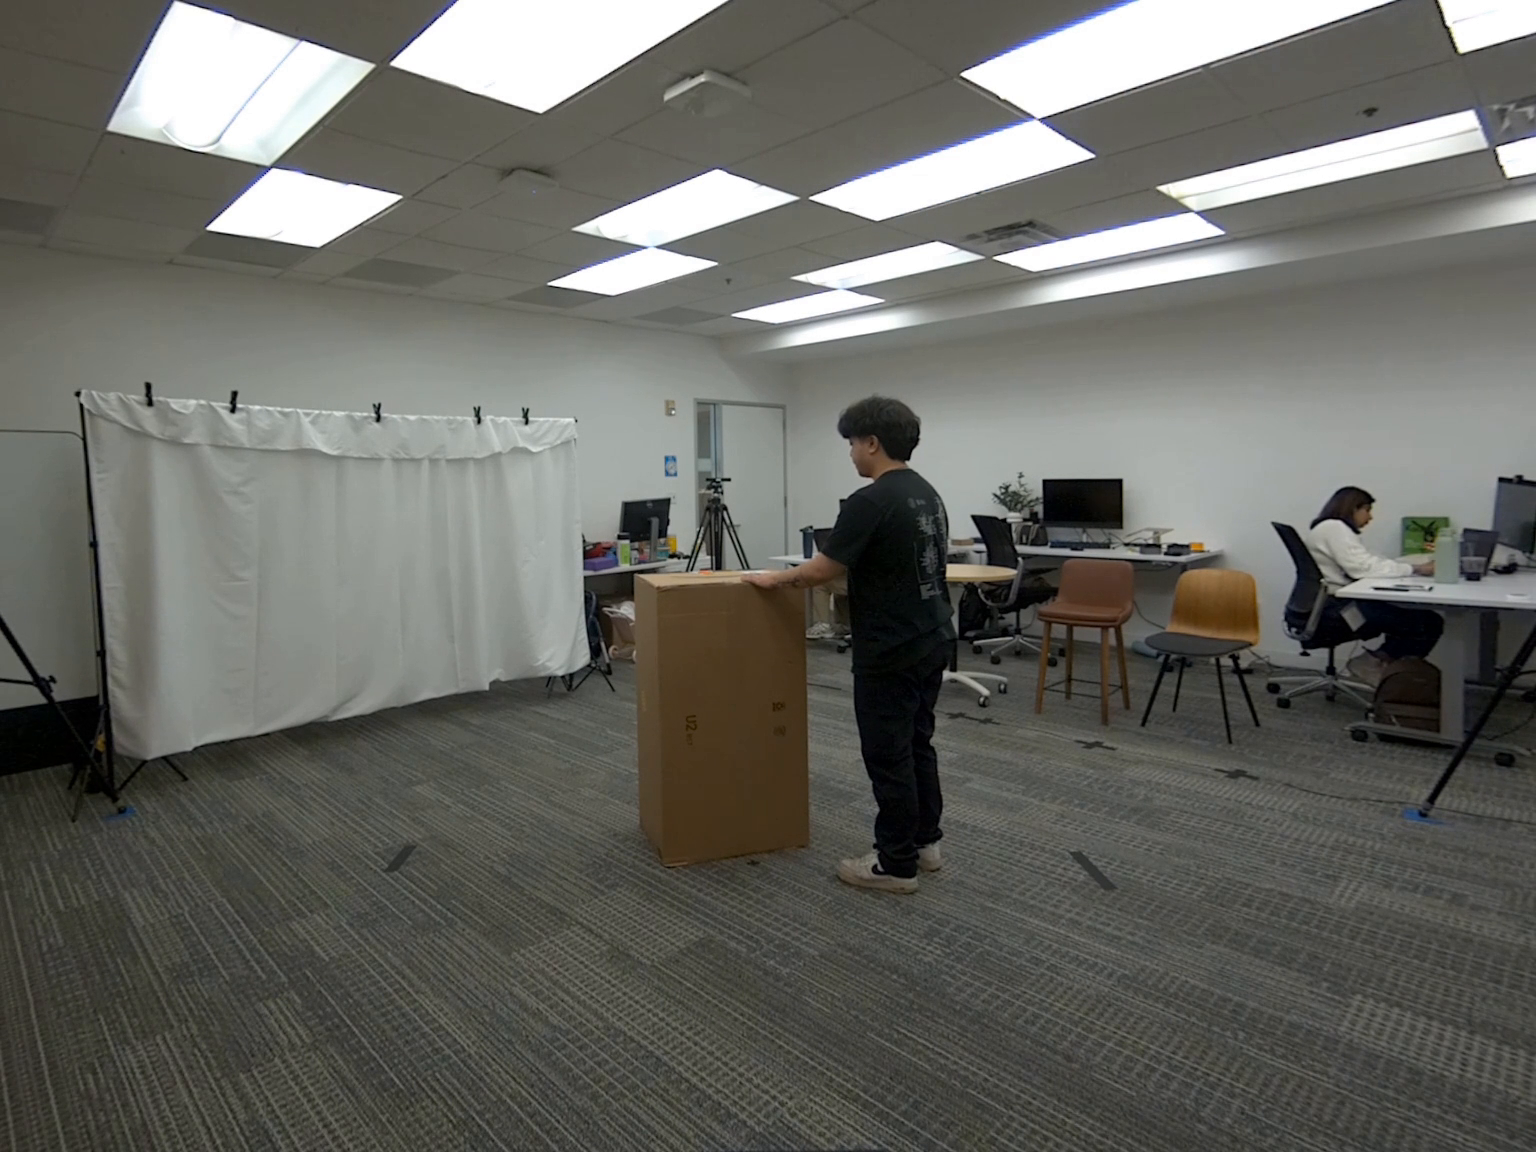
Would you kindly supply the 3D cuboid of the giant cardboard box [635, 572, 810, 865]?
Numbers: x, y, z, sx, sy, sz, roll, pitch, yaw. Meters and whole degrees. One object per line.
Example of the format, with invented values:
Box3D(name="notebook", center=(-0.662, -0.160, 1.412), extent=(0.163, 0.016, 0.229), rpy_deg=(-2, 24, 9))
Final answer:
Box3D(name="giant cardboard box", center=(-0.189, 0.507, 3.331), extent=(0.575, 1.024, 0.455), rpy_deg=(-2, 4, -18))
